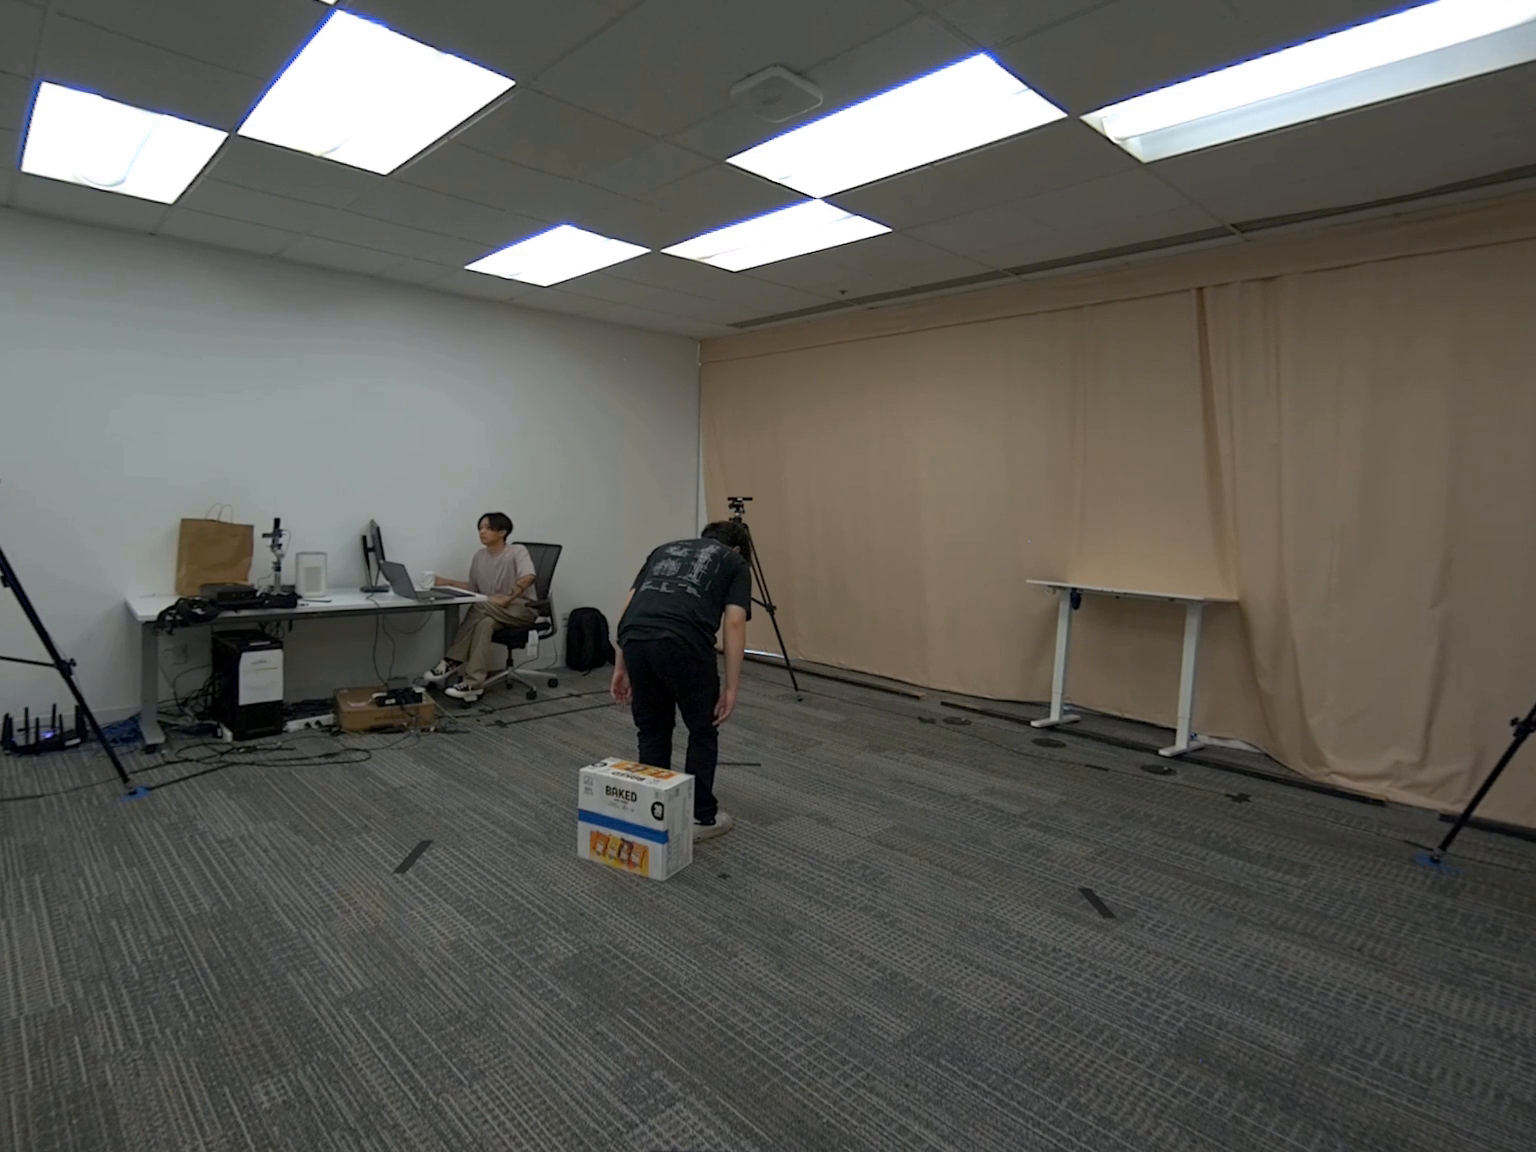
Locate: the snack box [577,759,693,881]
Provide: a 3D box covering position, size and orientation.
[{"bbox_3d":[-0.511,0.915,3.224,0.414,0.339,0.202,4,4,29],"label":"snack box"}]
